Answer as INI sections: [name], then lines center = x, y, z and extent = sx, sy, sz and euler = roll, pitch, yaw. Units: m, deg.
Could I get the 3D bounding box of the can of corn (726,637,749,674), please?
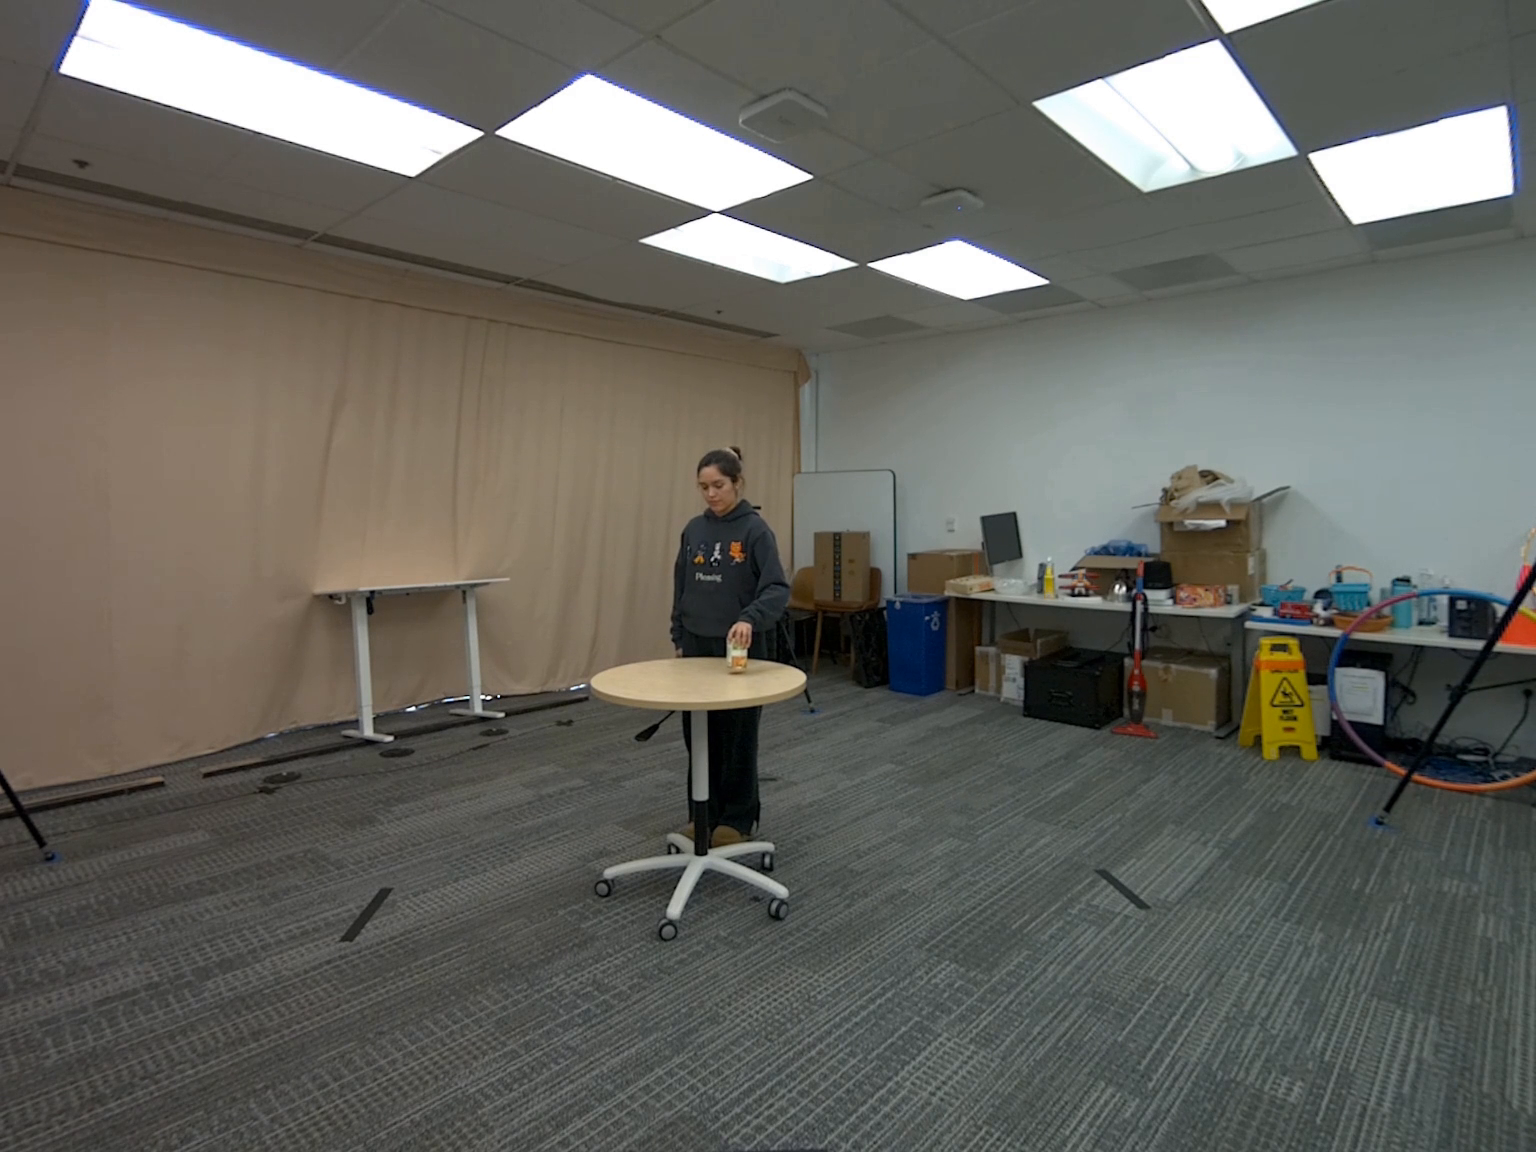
[can of corn]
center = -0.098, 0.277, 3.063
extent = 0.074, 0.111, 0.074
euler = 3, 0, -2
